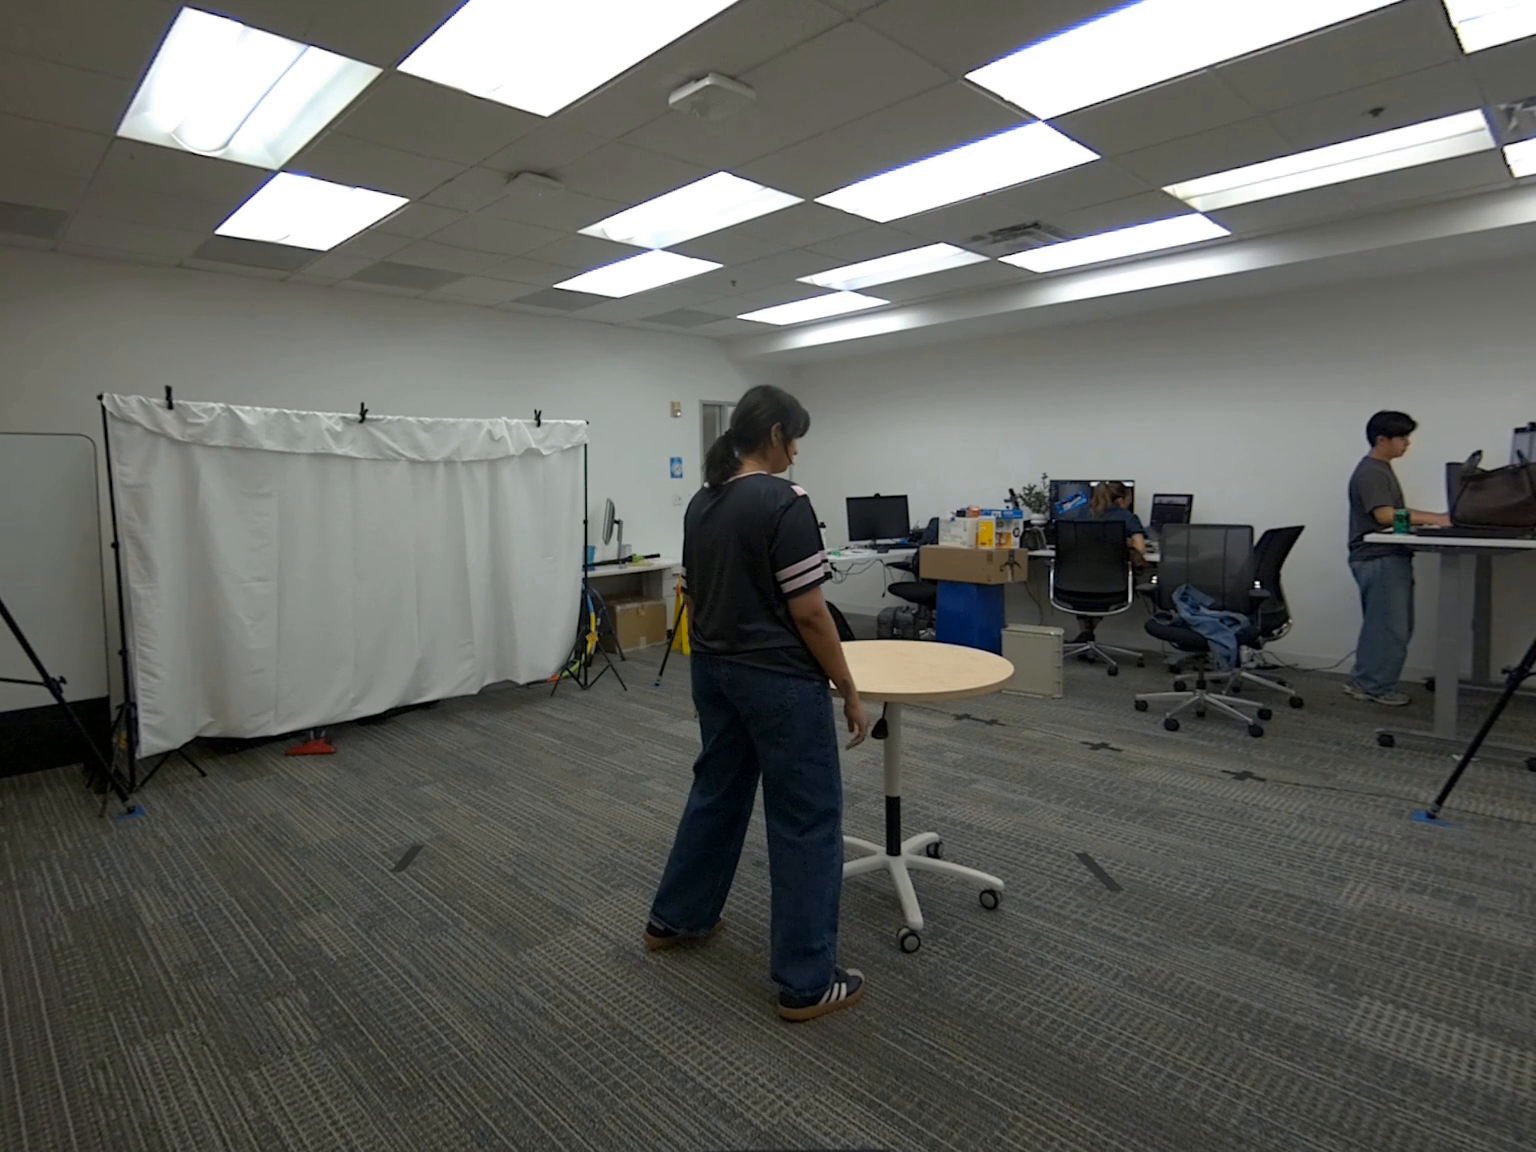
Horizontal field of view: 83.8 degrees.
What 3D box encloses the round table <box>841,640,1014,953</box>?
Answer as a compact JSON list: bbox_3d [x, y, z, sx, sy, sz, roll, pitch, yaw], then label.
[{"bbox_3d":[0.424,0.681,2.843,0.763,0.790,0.768,-1,5,-2],"label":"round table"}]
